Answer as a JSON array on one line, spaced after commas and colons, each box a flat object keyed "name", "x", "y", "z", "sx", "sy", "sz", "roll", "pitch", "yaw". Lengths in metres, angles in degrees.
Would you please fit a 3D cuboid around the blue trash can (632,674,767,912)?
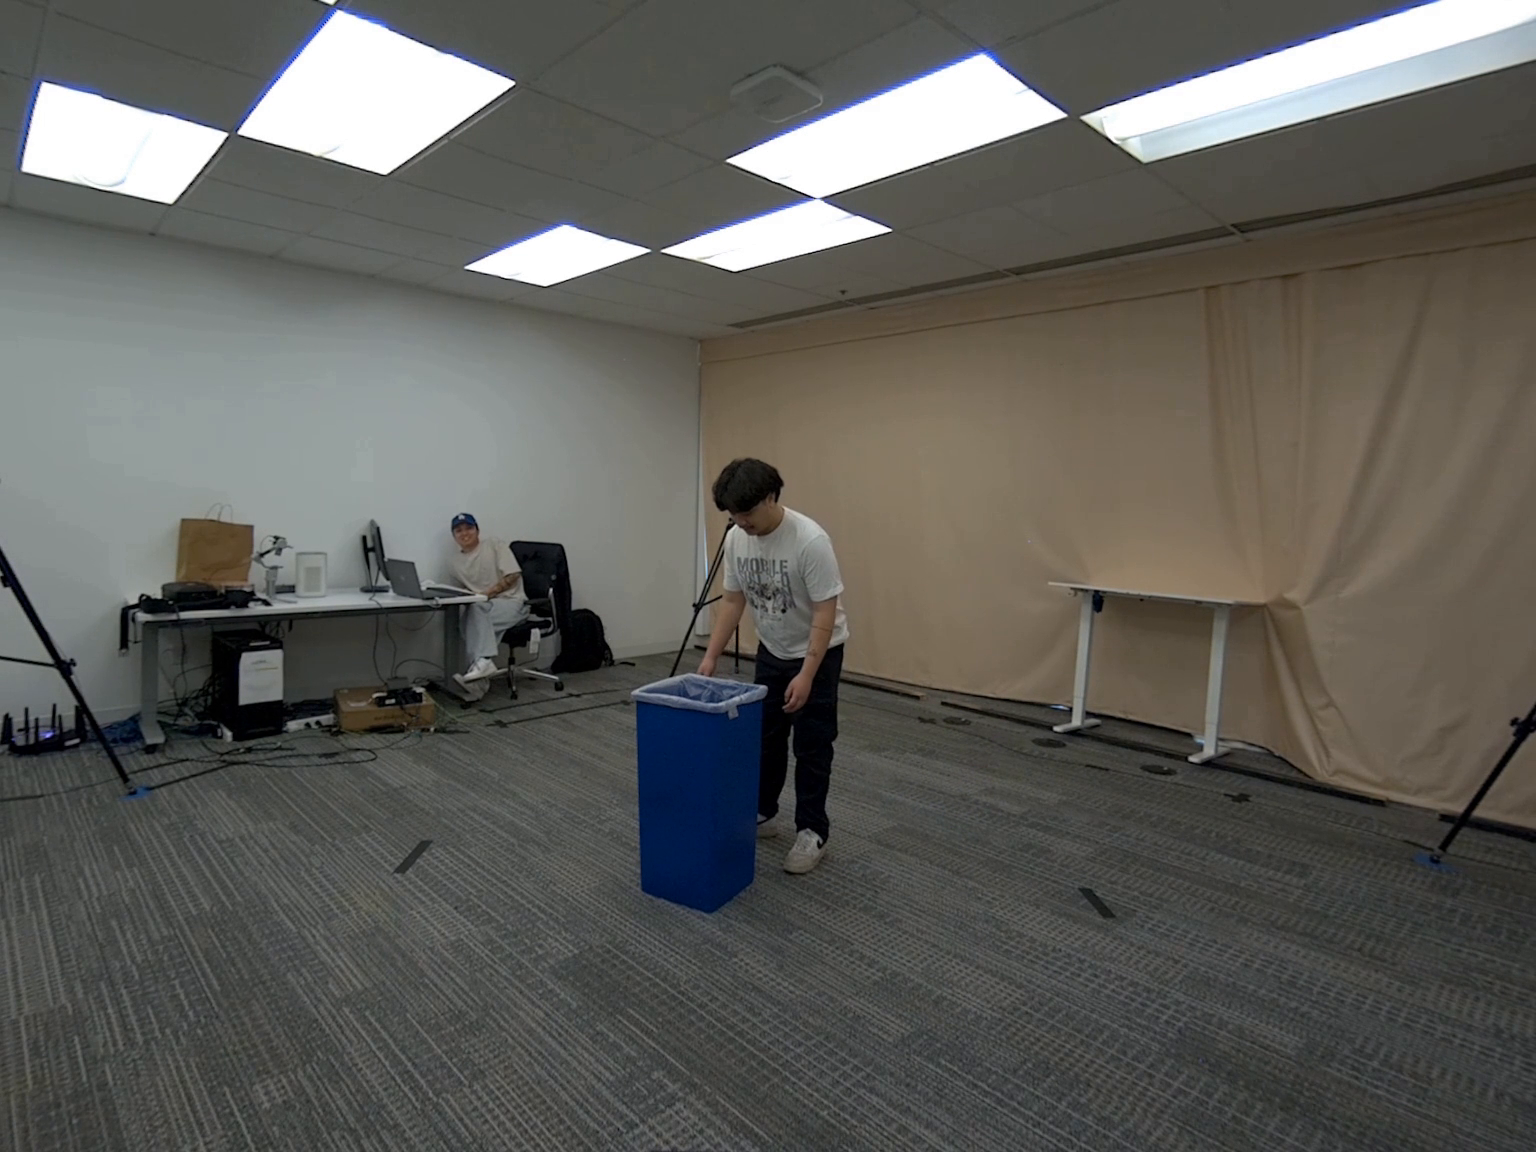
[{"name": "blue trash can", "x": -0.258, "y": 0.756, "z": 3.003, "sx": 0.382, "sy": 0.712, "sz": 0.371, "roll": 4, "pitch": 3, "yaw": 29}]
